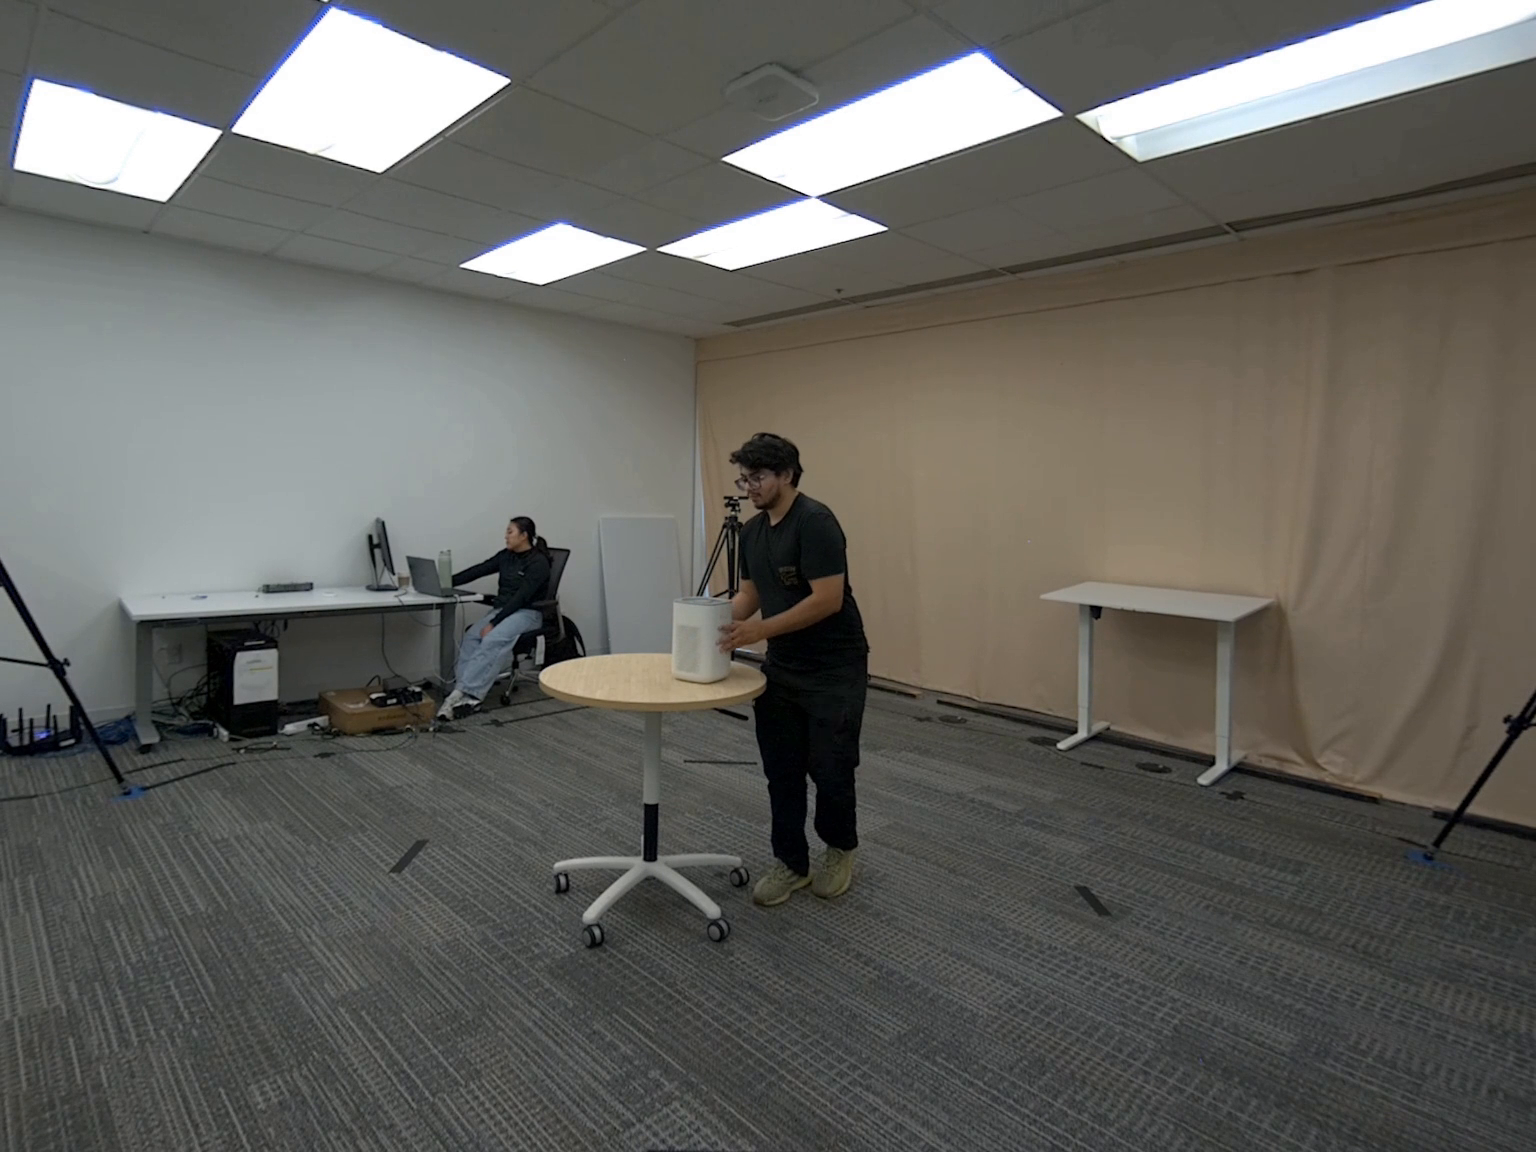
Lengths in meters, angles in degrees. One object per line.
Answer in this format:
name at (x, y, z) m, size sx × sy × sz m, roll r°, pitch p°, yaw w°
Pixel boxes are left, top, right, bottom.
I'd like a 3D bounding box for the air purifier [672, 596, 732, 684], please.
air purifier at (-0.221, 0.210, 2.824) m, size 0.175 × 0.264 × 0.168 m, roll 4°, pitch 5°, yaw 28°
